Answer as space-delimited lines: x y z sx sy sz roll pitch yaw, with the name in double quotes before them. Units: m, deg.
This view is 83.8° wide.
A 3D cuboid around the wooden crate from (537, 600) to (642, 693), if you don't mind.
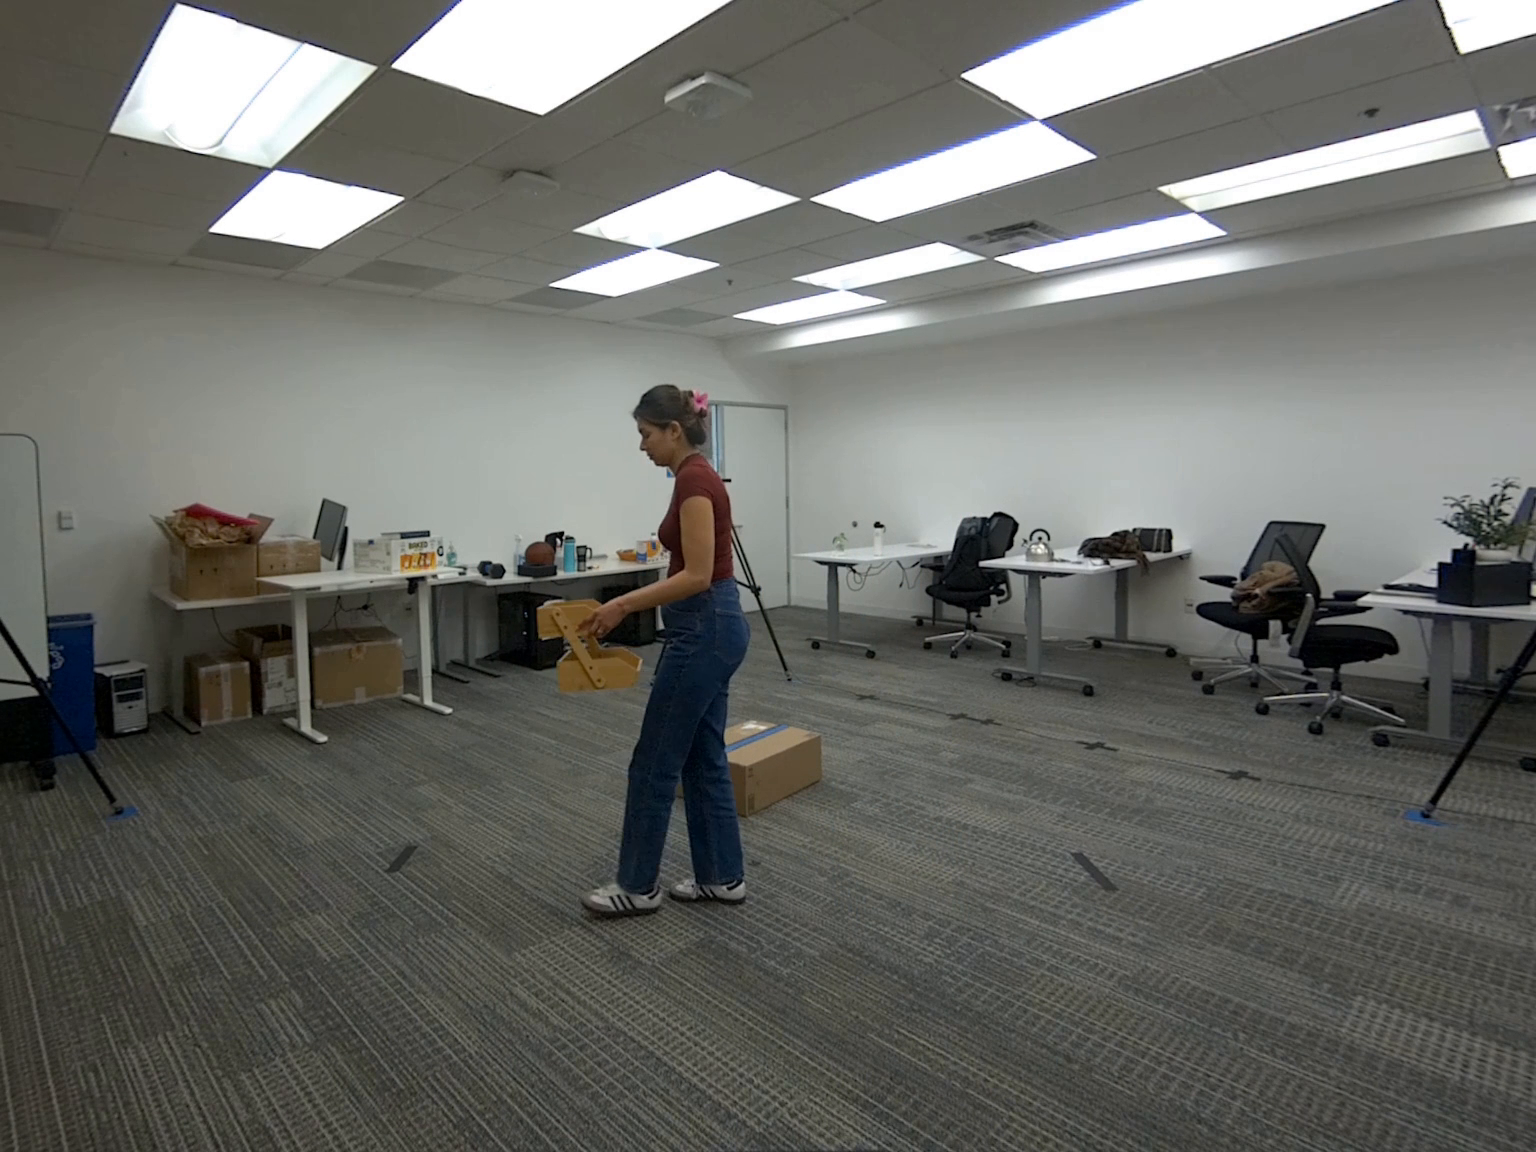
"wooden crate" -0.577 0.213 2.766 0.300 0.273 0.326 -4 1 -7
